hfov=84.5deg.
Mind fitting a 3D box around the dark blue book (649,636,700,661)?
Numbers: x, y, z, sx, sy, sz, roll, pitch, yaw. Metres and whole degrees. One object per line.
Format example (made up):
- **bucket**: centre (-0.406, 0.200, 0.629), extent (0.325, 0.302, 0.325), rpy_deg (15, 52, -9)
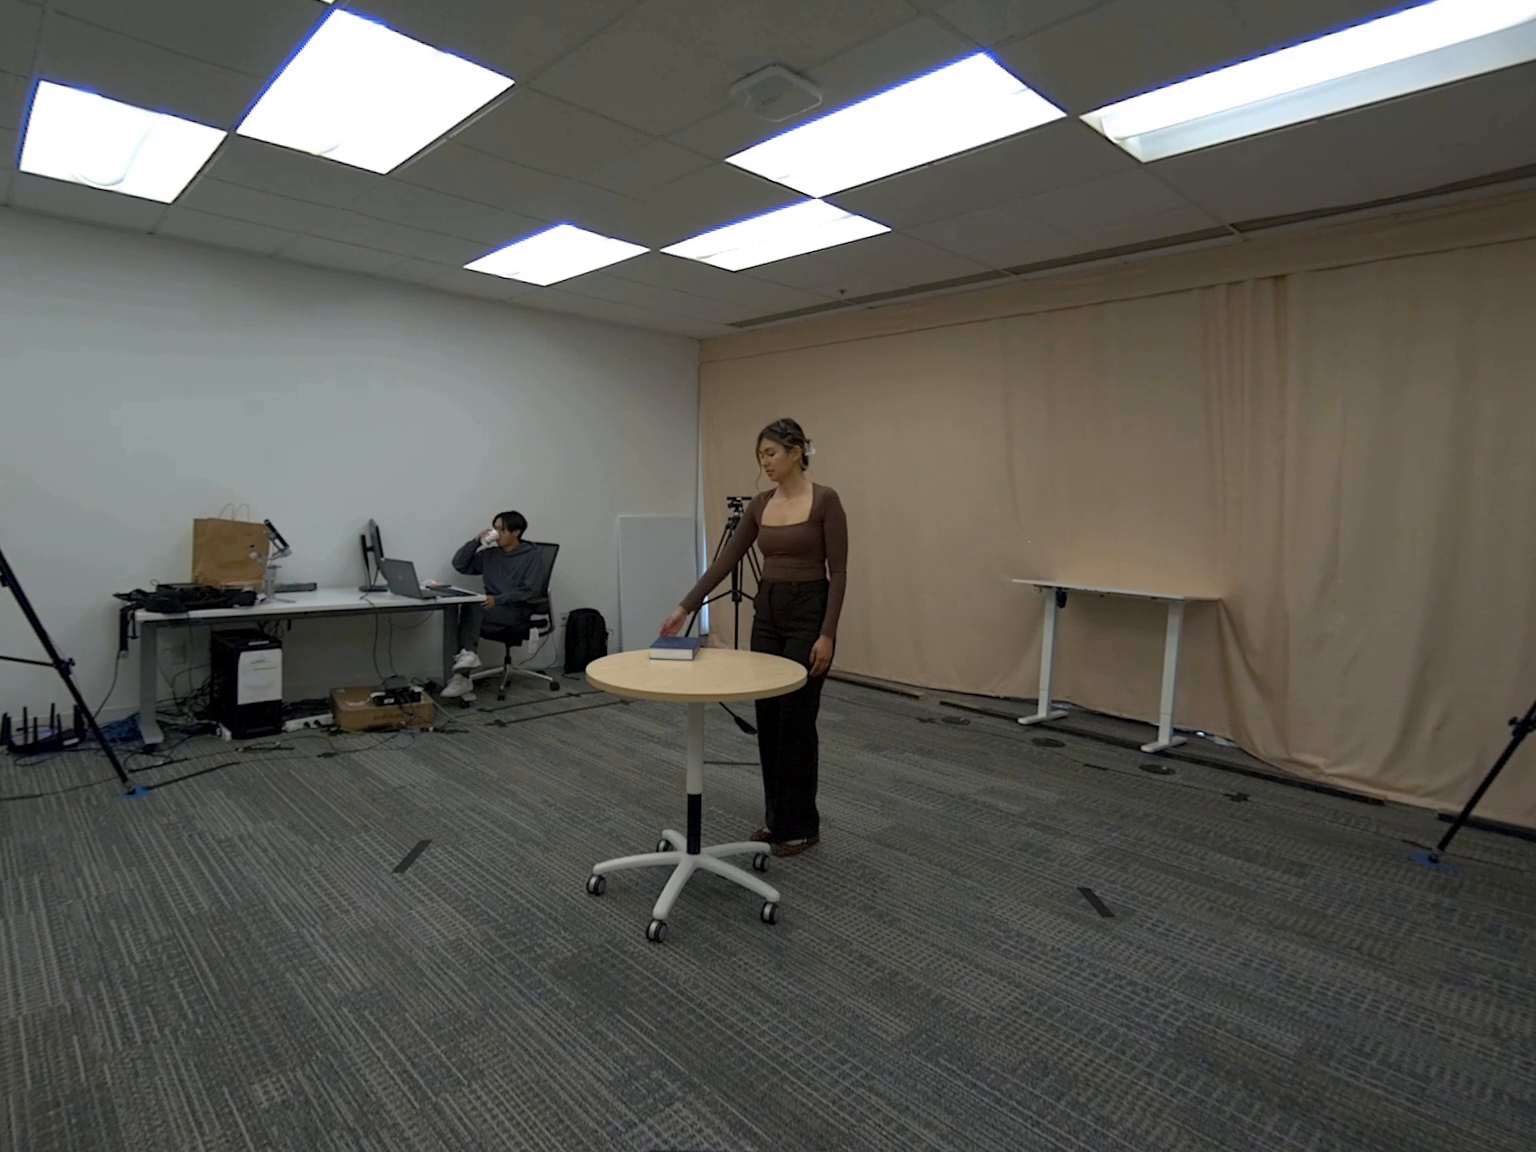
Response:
- **dark blue book**: centre (-0.361, 0.275, 3.182), extent (0.164, 0.045, 0.245), rpy_deg (1, 5, 3)
